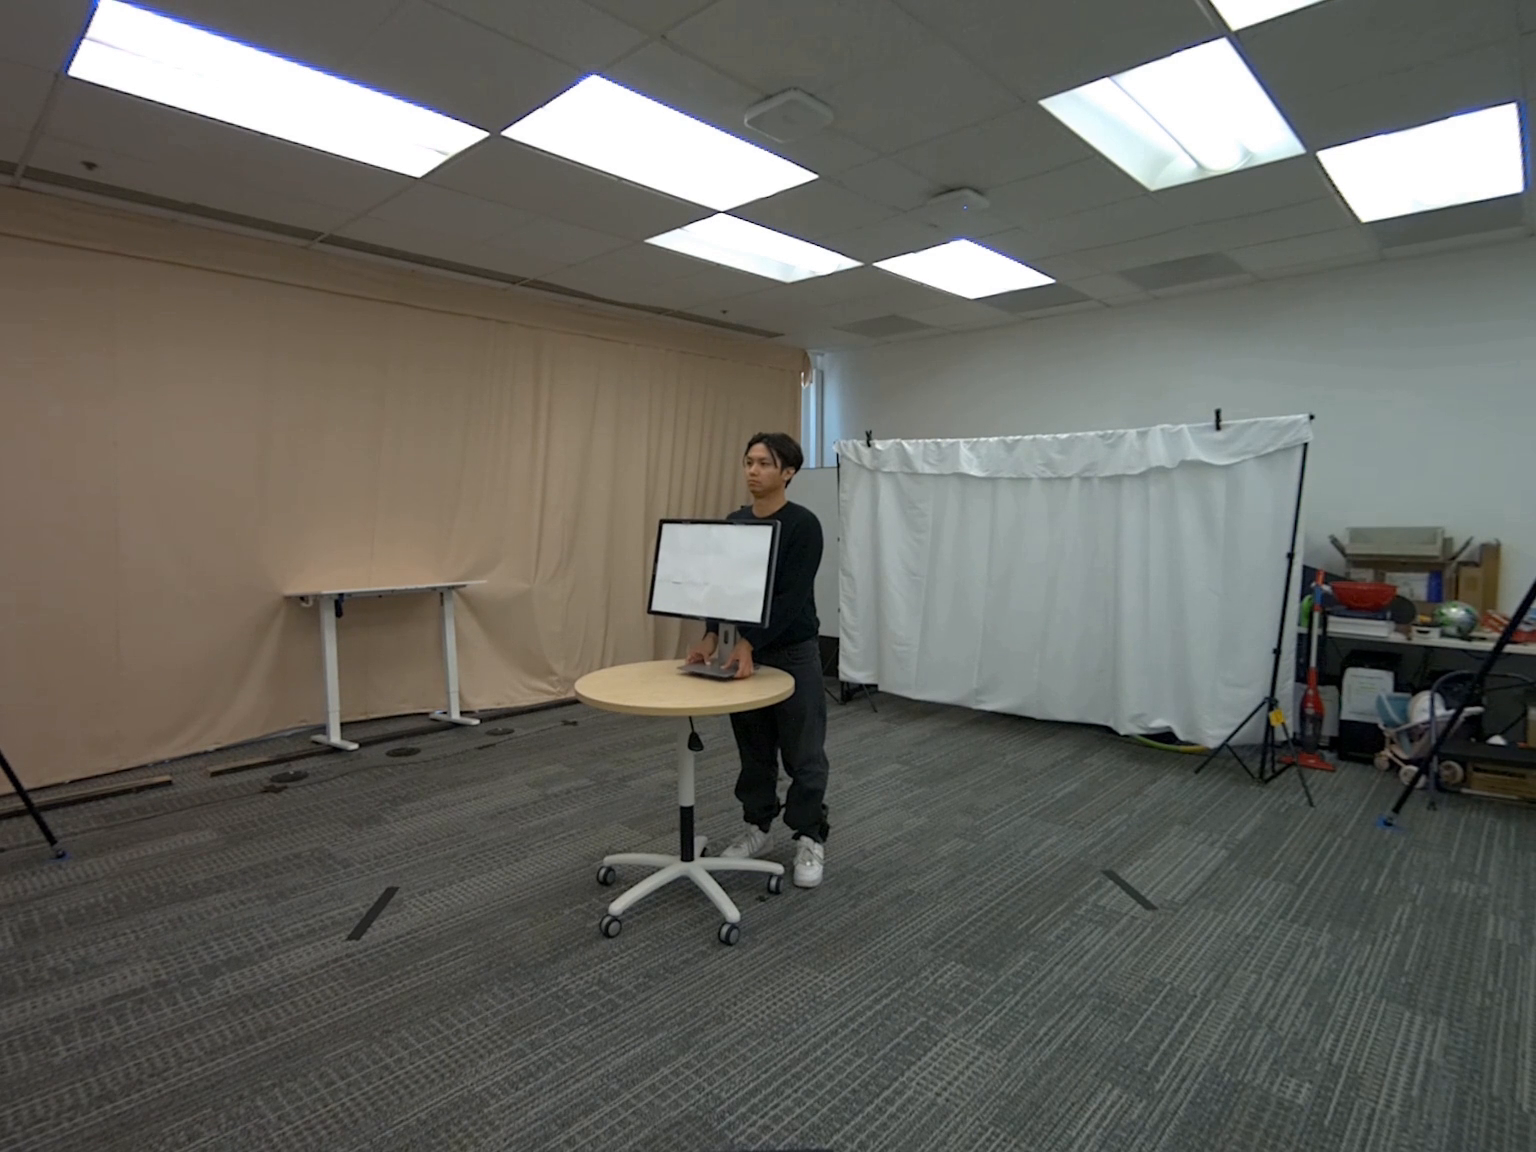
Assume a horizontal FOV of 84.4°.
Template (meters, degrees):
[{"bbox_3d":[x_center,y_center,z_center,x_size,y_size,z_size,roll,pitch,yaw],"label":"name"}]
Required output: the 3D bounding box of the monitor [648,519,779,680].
[{"bbox_3d":[-0.183,0.067,3.033,0.556,0.521,0.181,2,5,38],"label":"monitor"}]
